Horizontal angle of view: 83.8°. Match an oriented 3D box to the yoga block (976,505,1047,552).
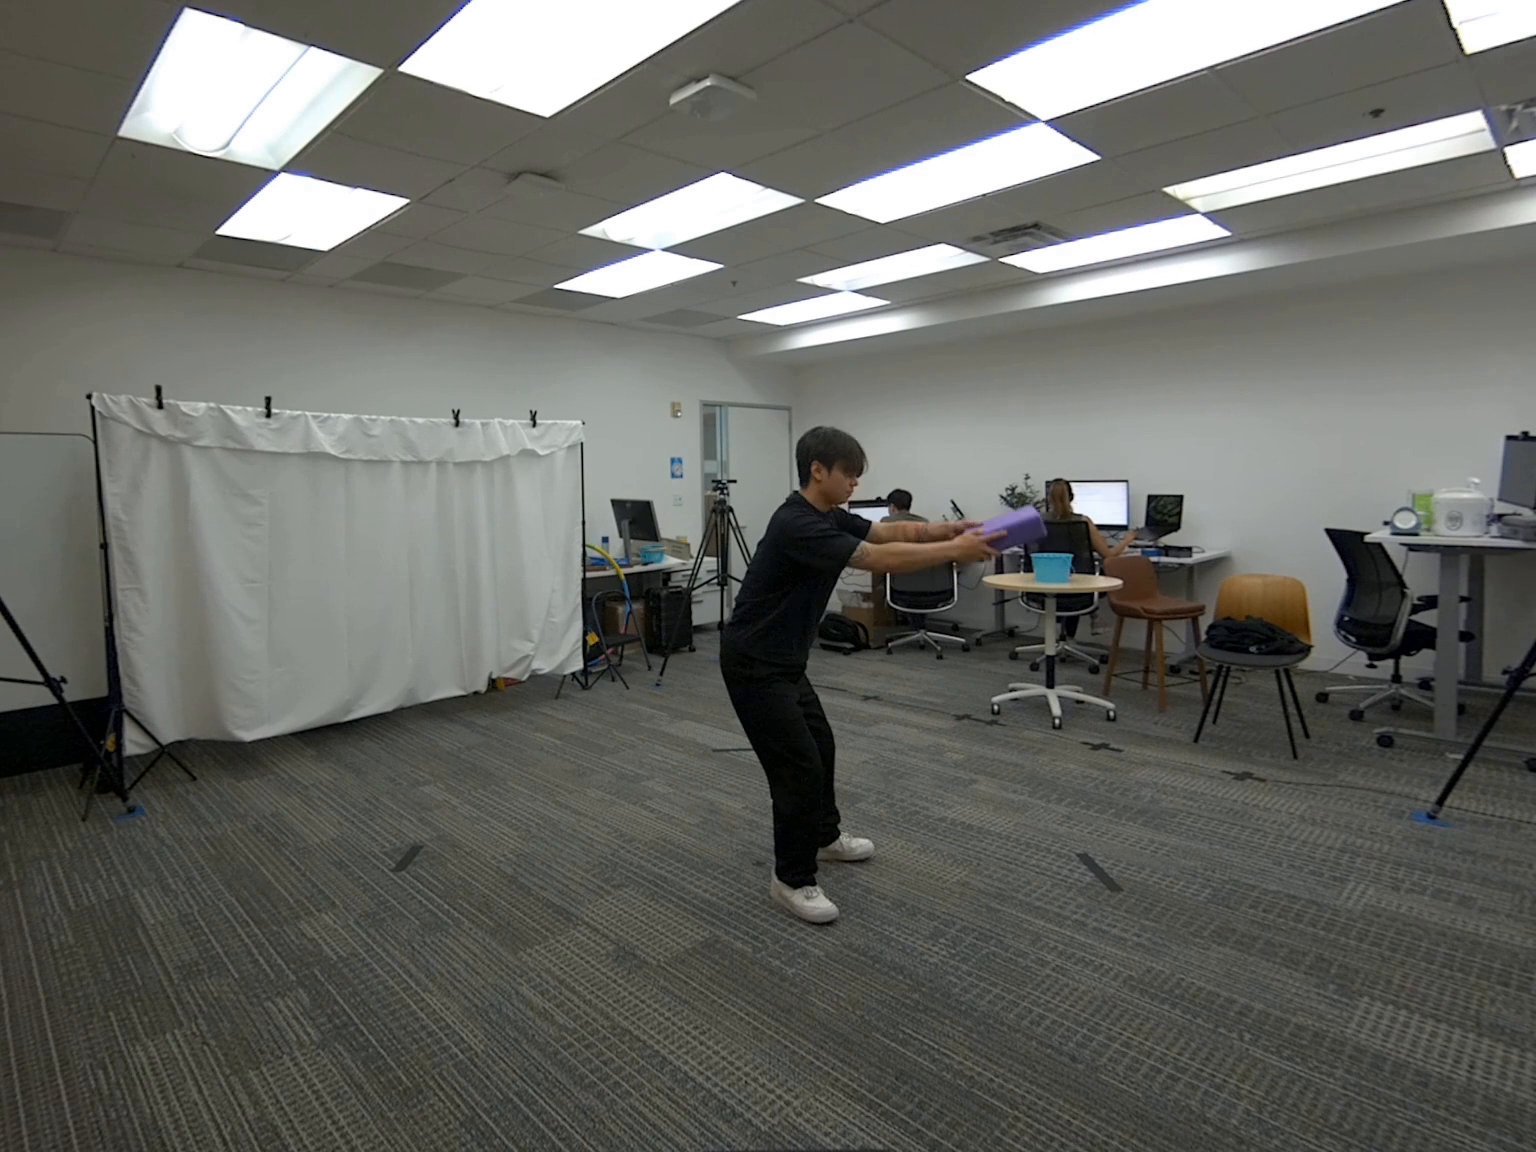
[{"bbox_3d":[0.737,-0.131,2.689,0.230,0.075,0.150,-21,13,8],"label":"yoga block"}]
